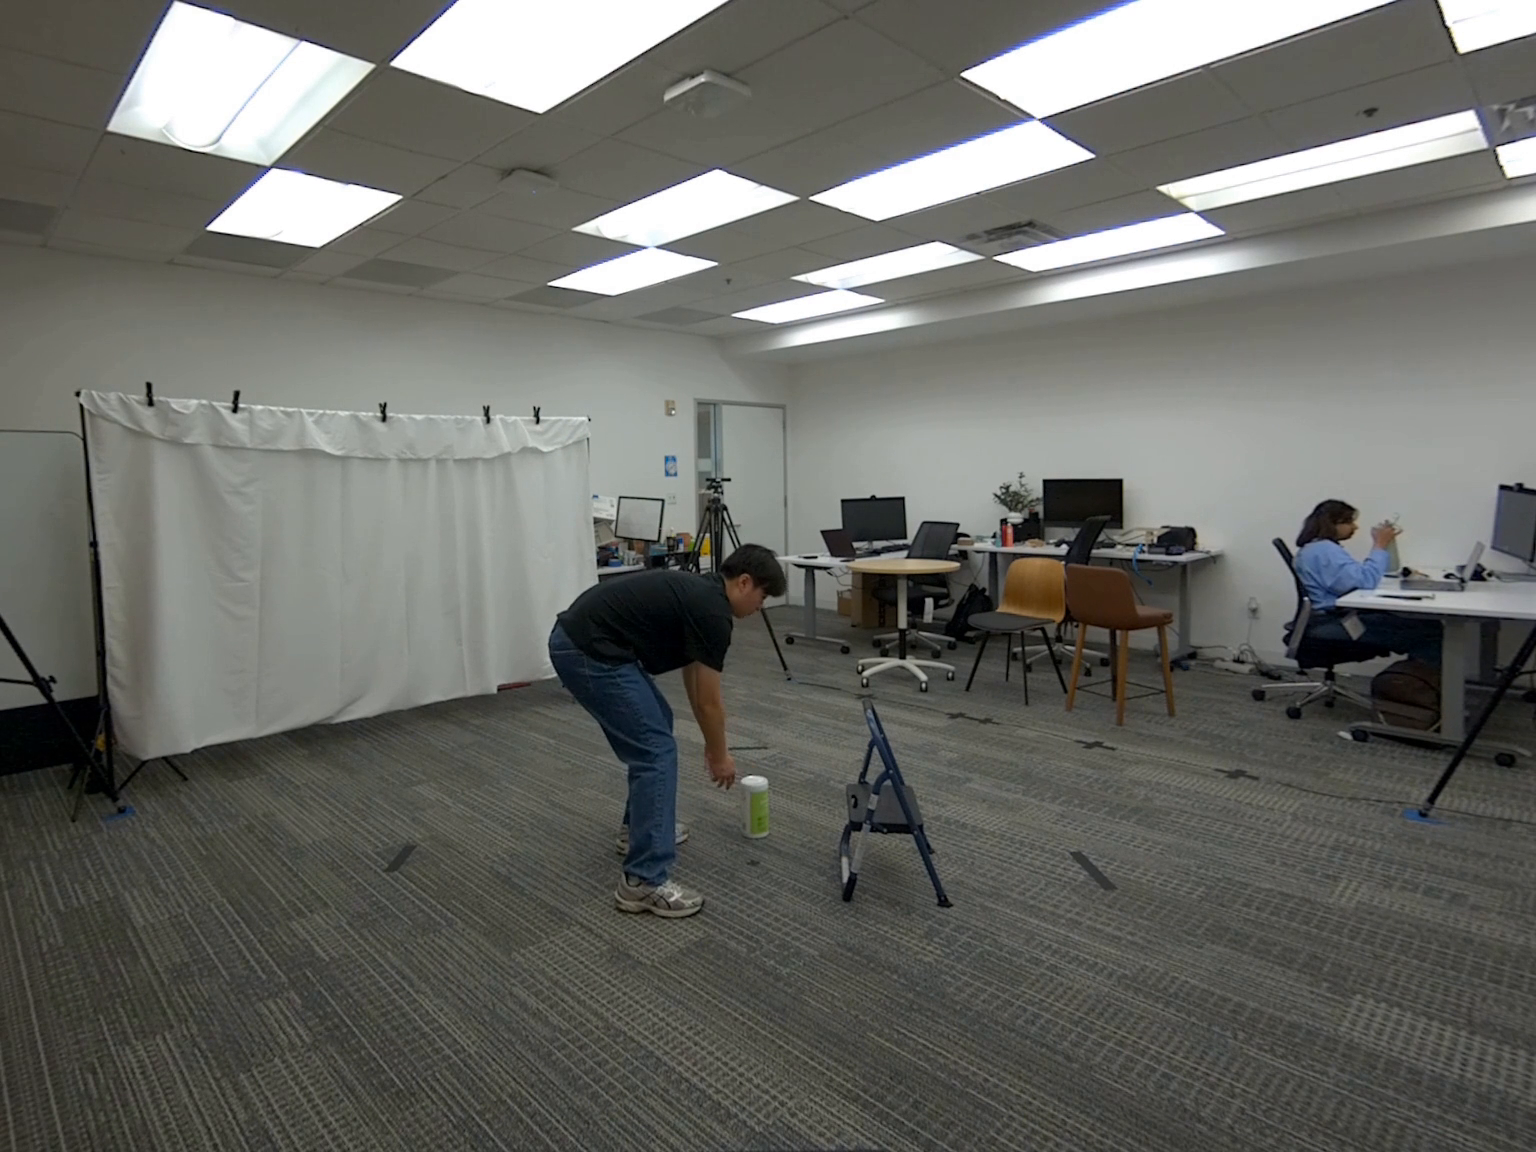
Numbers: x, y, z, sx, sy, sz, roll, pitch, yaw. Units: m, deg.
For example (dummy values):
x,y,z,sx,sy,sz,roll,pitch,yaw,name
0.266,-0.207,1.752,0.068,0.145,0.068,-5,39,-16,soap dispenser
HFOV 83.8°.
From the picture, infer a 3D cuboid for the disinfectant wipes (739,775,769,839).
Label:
x,y,z,sx,sy,sz,roll,pitch,yaw,name
-0.049,0.908,3.356,0.118,0.216,0.118,0,5,-2,disinfectant wipes
